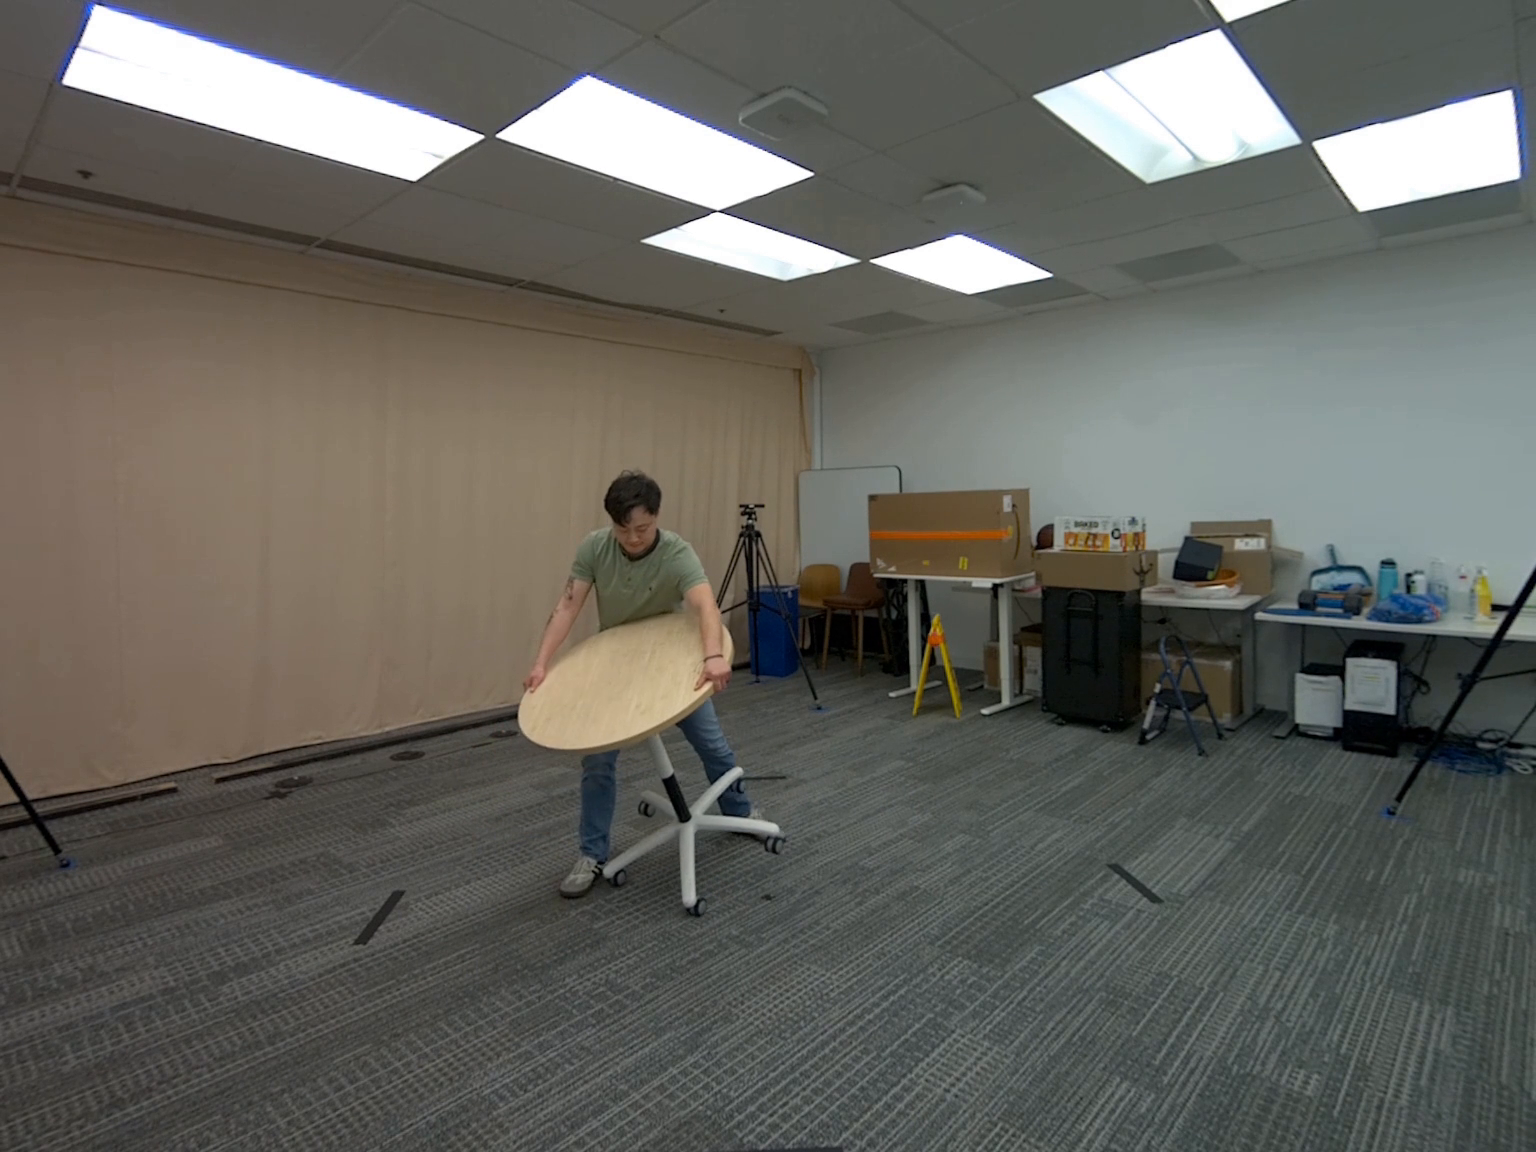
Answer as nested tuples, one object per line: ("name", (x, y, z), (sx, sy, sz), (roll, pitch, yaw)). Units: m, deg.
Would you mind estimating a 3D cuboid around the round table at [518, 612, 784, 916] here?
("round table", (-0.365, 0.676, 3.012), (0.768, 0.778, 0.775), (-16, 24, 5))
